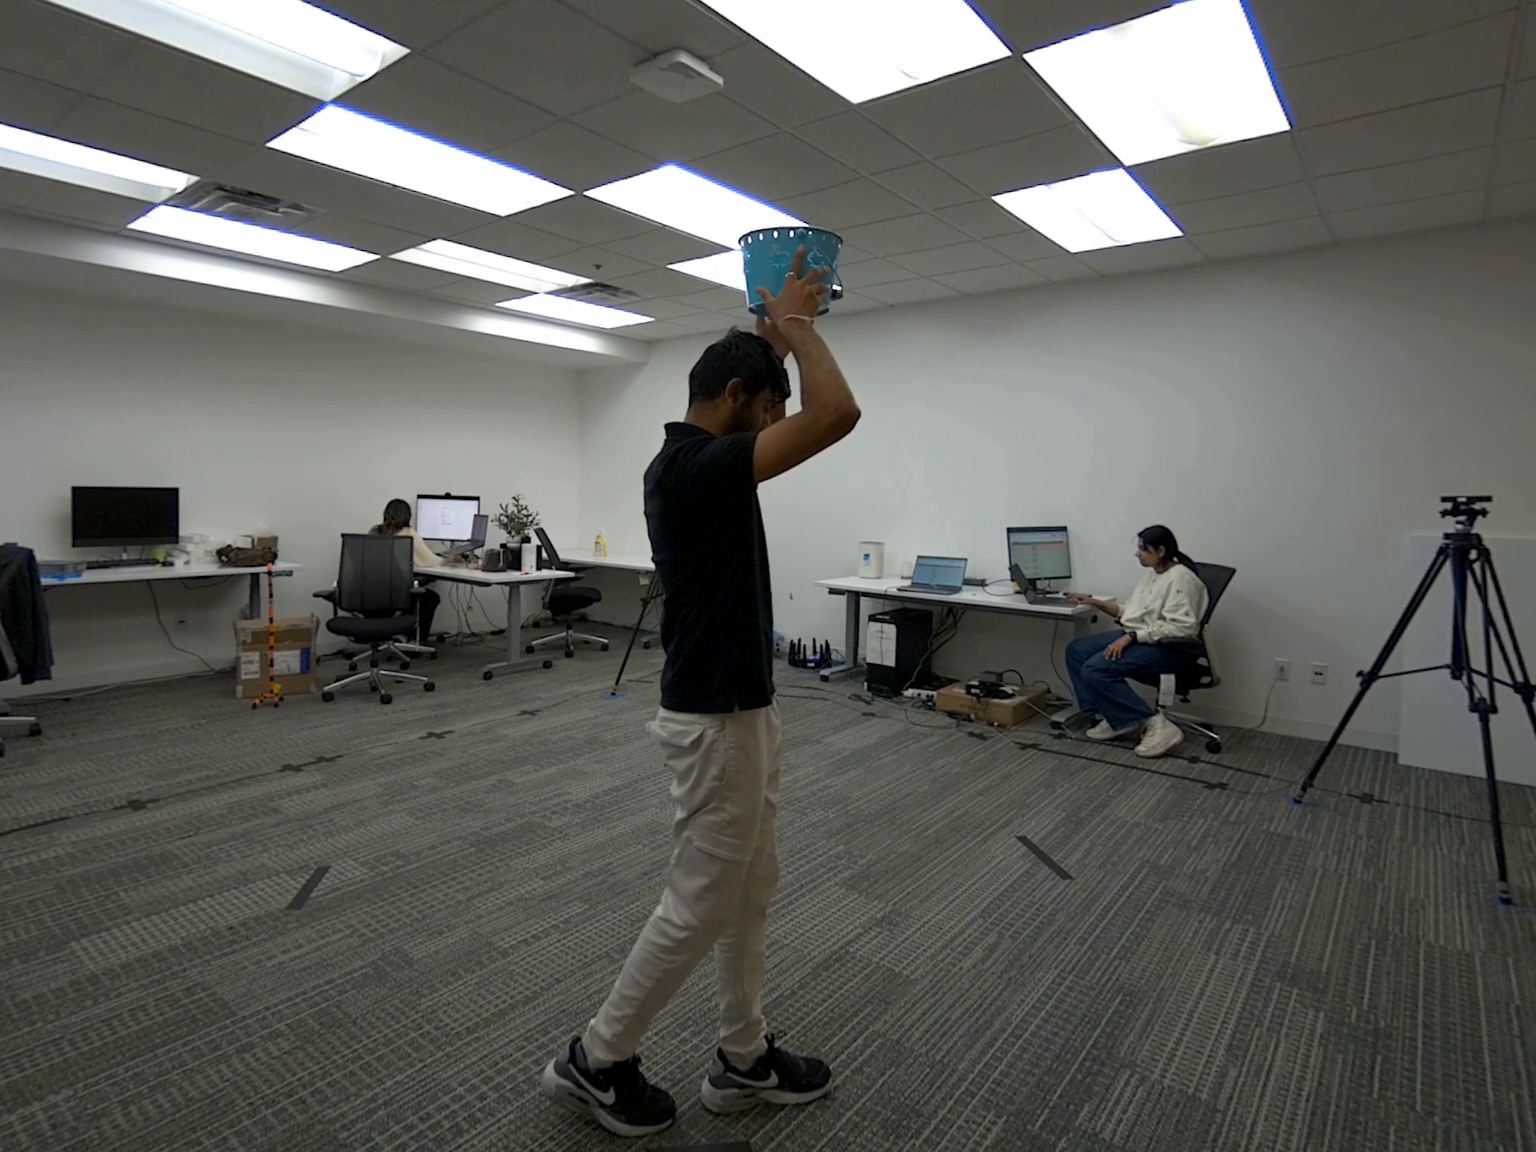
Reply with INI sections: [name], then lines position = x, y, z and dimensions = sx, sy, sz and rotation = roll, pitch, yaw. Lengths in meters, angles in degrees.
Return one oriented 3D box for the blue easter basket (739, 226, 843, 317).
[blue easter basket]
position = 0.040, -0.664, 1.871
dimensions = 0.243, 0.155, 0.245
rotation = 2, 8, -2
